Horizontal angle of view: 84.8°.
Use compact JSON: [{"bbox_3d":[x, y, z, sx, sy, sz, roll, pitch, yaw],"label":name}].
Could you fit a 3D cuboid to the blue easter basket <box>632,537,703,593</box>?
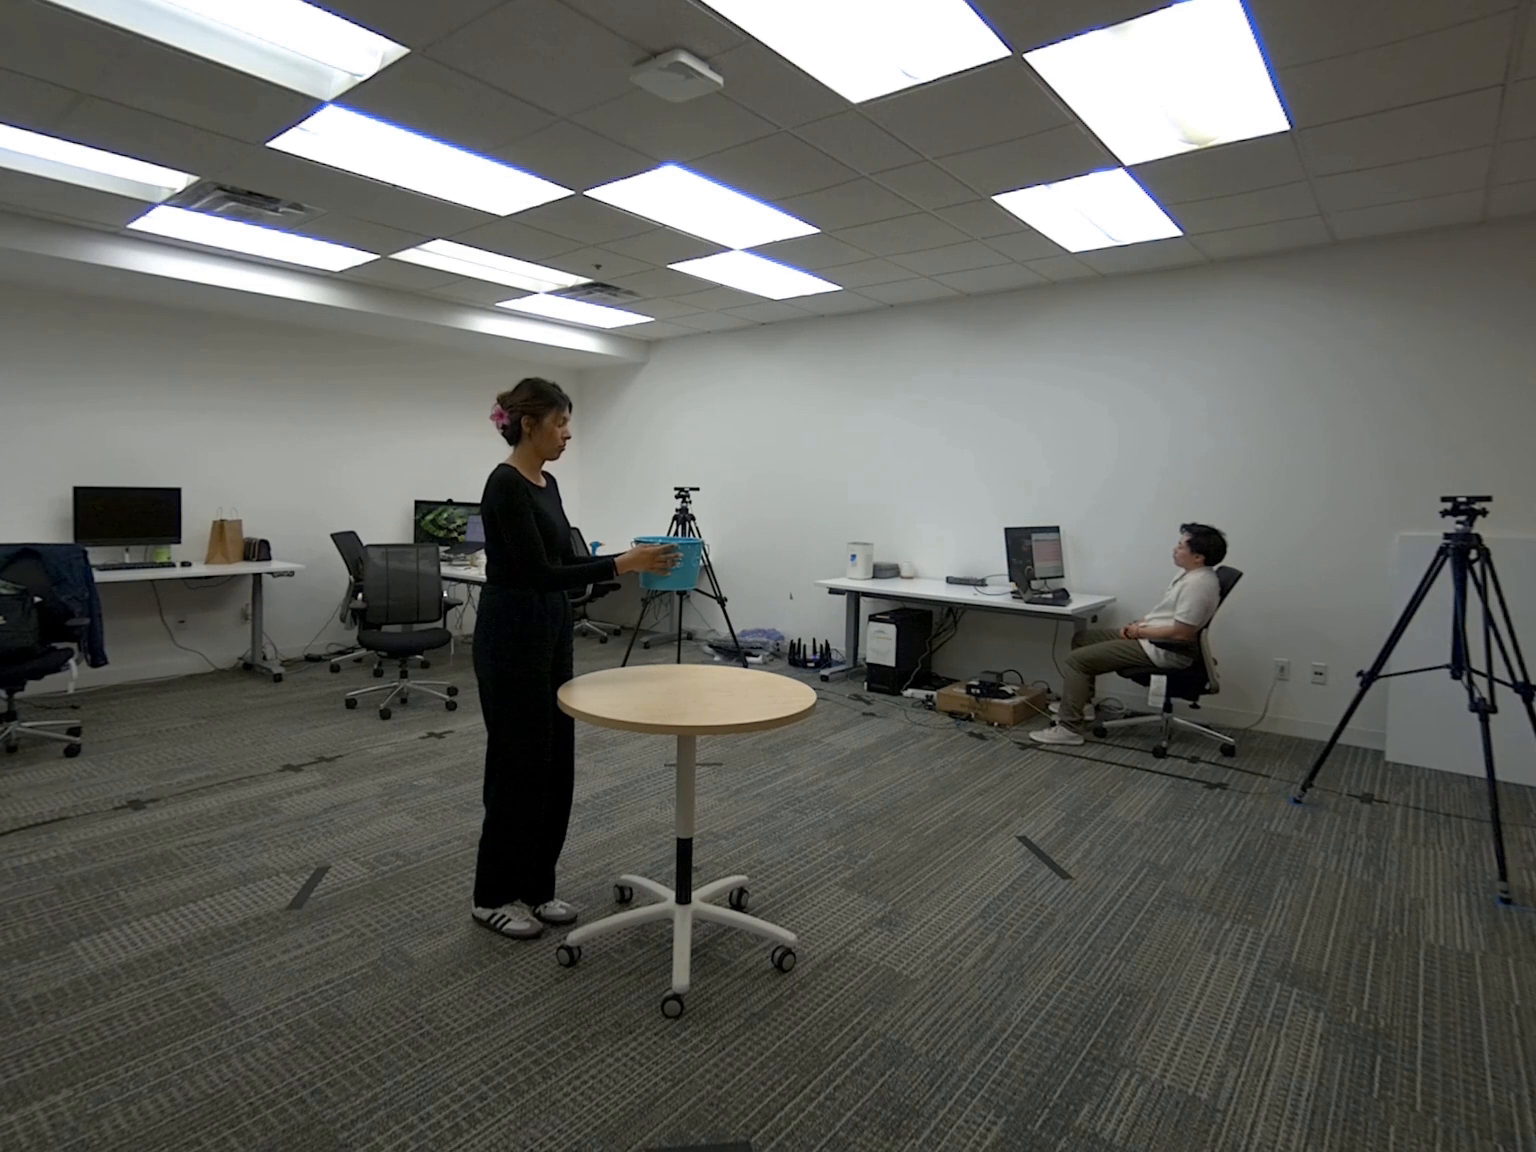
[{"bbox_3d":[-0.329,-0.038,2.693,0.243,0.155,0.245,1,6,-2],"label":"blue easter basket"}]
